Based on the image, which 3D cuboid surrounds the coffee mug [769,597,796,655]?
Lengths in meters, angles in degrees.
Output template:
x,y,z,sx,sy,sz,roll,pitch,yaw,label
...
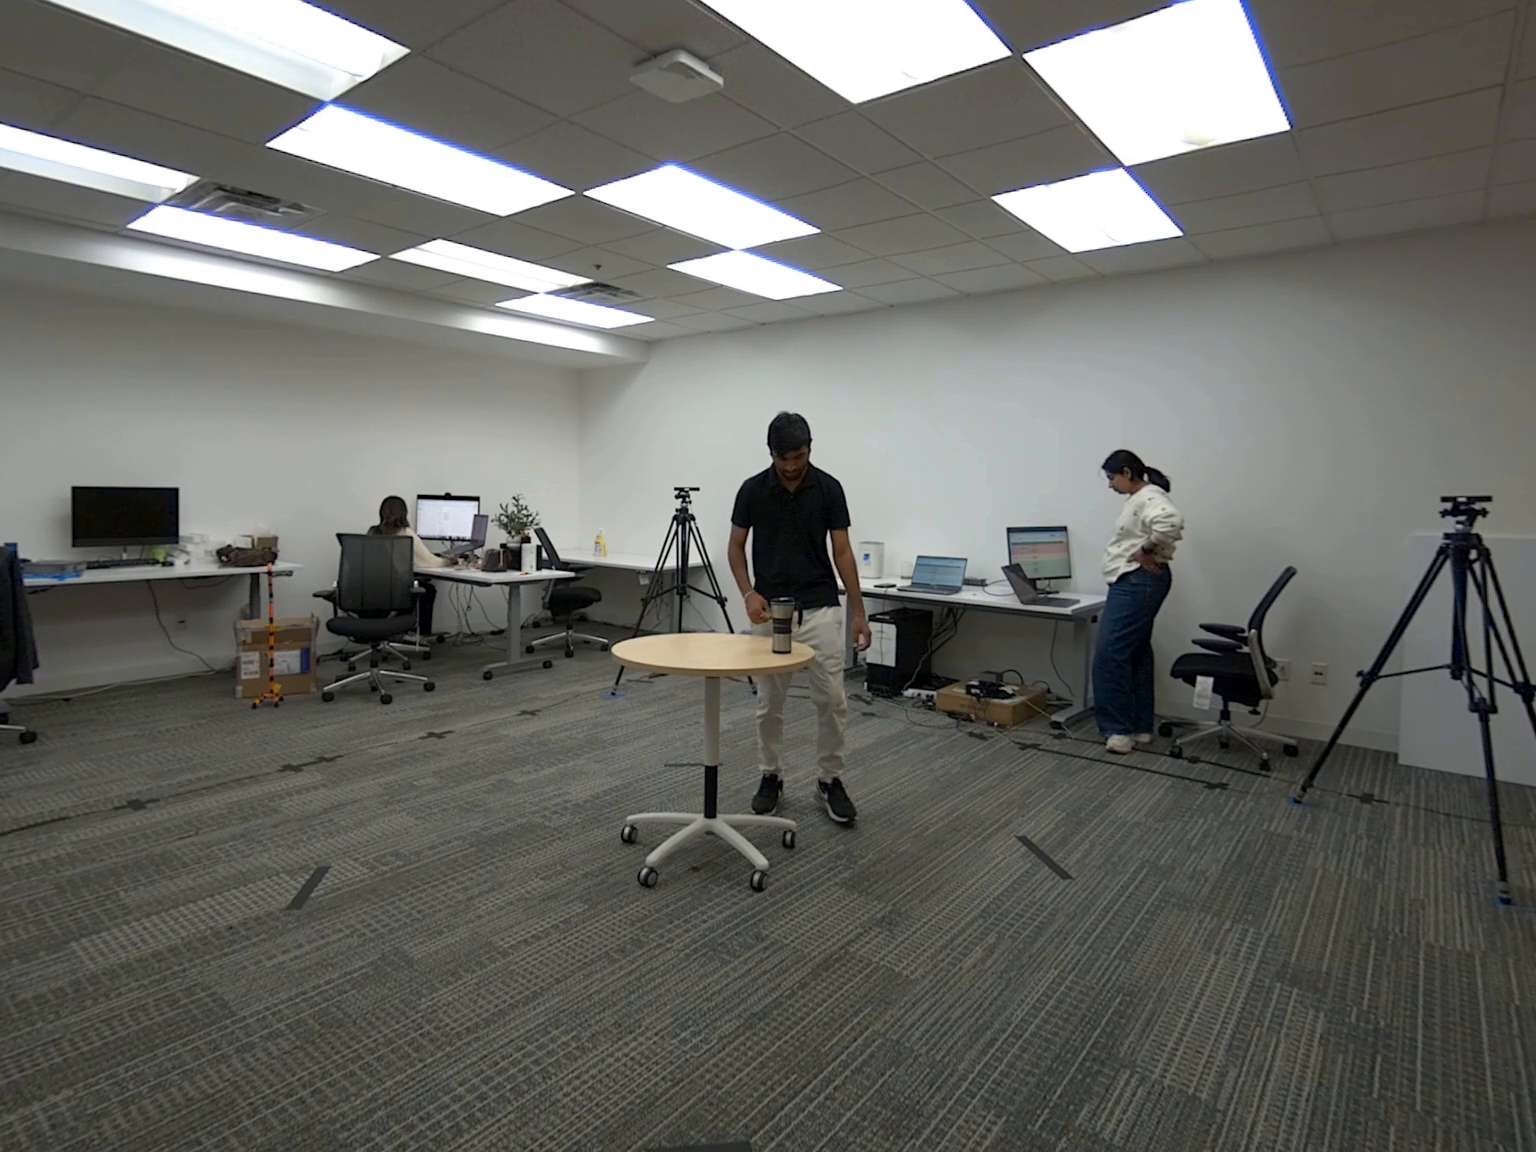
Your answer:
x,y,z,sx,sy,sz,roll,pitch,yaw,label
0.067,0.179,3.157,0.123,0.203,0.087,-1,-1,10,coffee mug
